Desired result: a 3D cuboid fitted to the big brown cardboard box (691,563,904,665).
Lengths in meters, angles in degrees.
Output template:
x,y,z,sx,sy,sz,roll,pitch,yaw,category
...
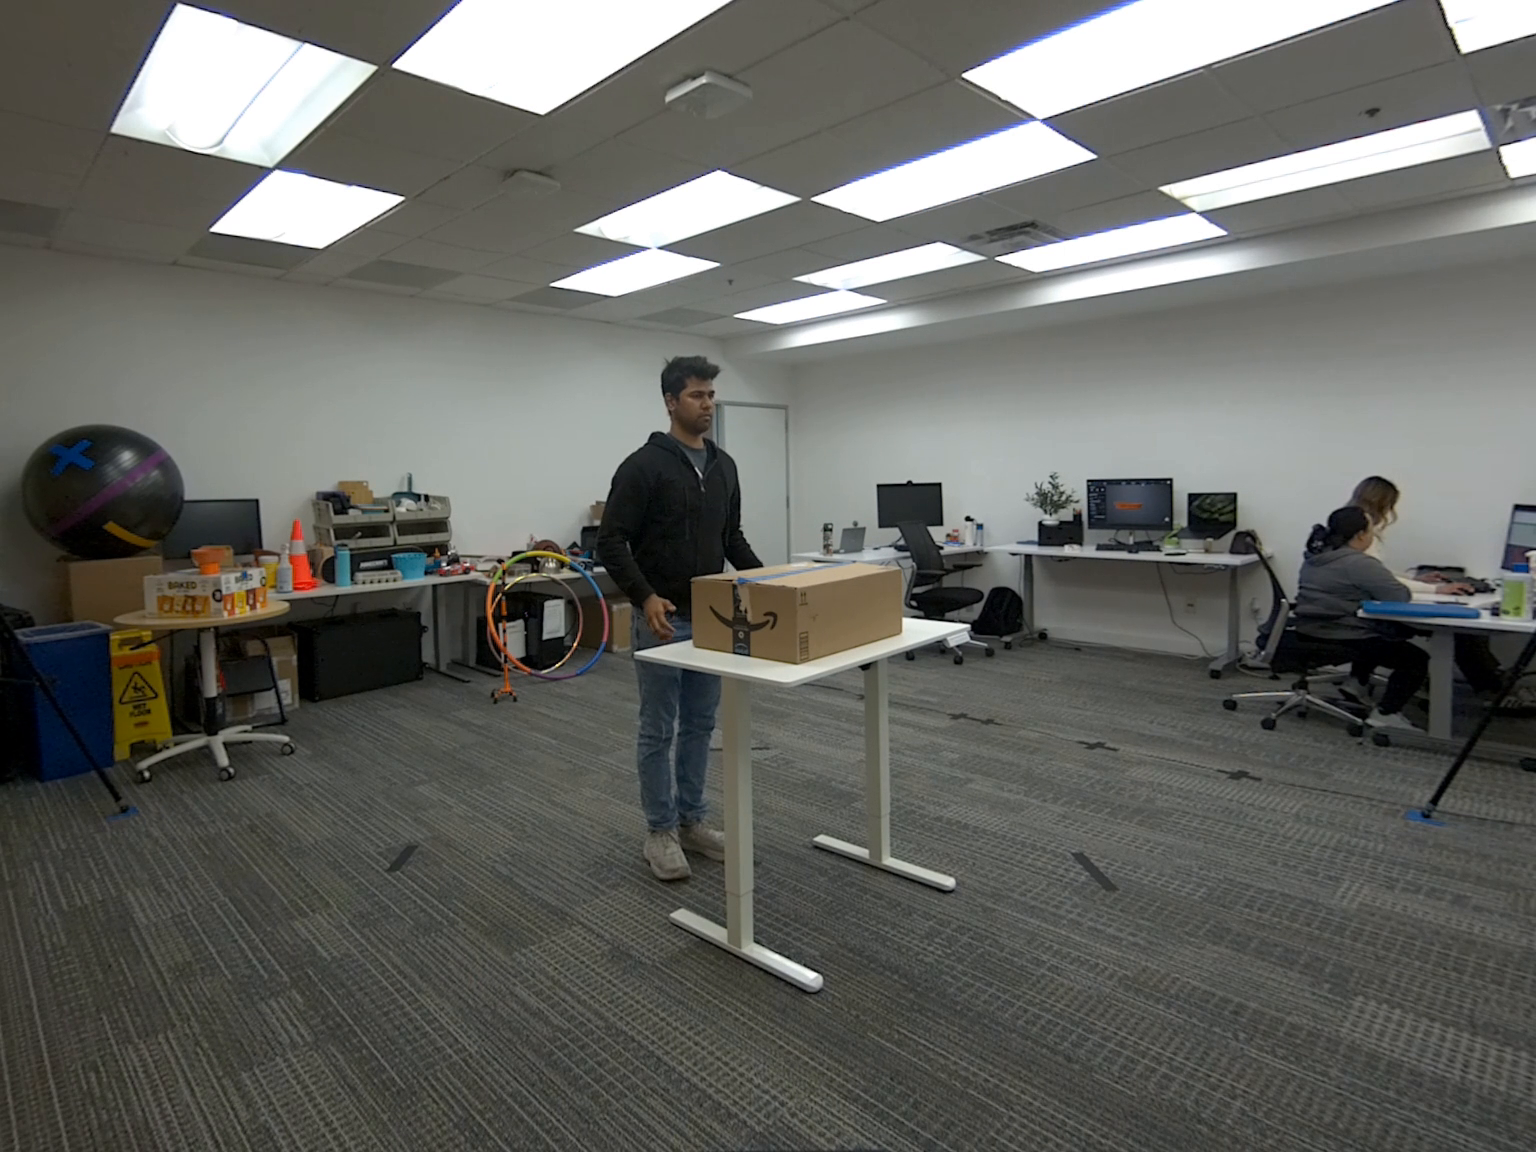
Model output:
x,y,z,sx,sy,sz,roll,pitch,yaw,category
0.101,0.093,2.710,0.430,0.232,0.574,4,9,41,big brown cardboard box
